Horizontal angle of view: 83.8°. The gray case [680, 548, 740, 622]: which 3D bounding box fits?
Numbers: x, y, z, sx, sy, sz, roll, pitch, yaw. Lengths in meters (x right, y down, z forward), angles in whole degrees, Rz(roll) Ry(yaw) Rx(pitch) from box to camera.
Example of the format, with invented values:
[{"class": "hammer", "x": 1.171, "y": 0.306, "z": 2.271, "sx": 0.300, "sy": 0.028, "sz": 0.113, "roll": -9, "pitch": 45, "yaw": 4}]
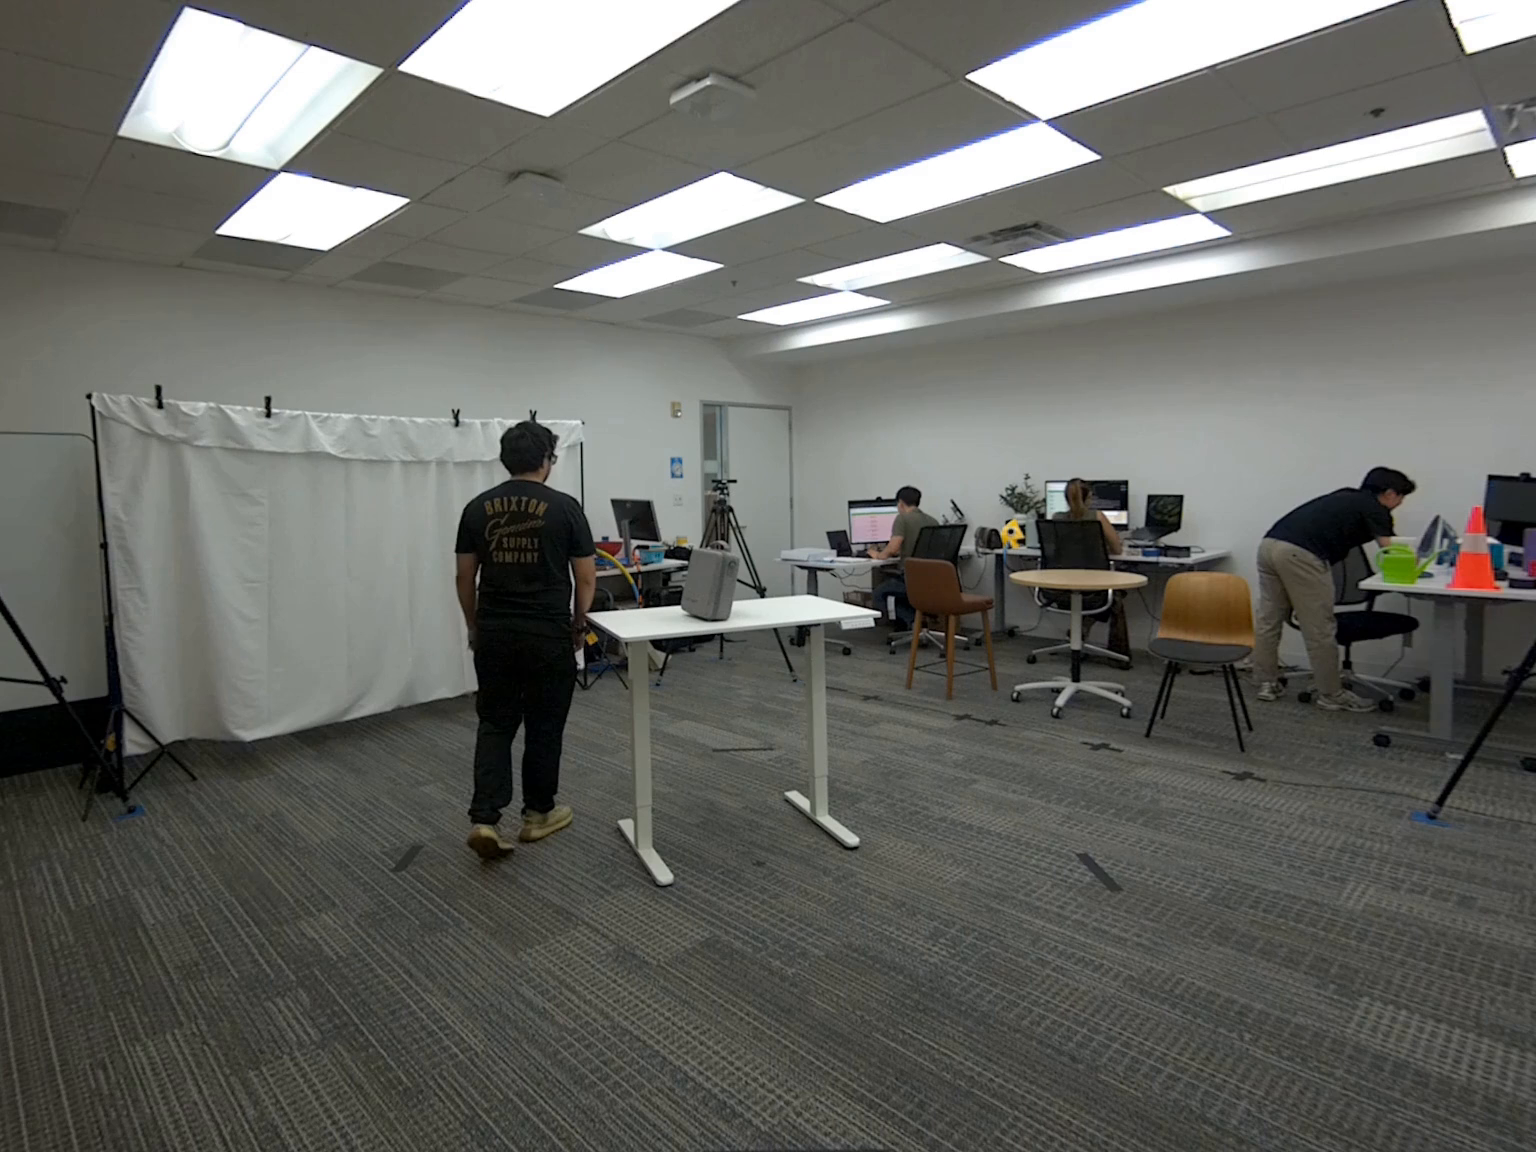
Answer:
[{"class": "gray case", "x": -0.217, "y": 0.024, "z": 3.214, "sx": 0.101, "sy": 0.261, "sz": 0.263, "roll": 12, "pitch": -2, "yaw": -28}]
